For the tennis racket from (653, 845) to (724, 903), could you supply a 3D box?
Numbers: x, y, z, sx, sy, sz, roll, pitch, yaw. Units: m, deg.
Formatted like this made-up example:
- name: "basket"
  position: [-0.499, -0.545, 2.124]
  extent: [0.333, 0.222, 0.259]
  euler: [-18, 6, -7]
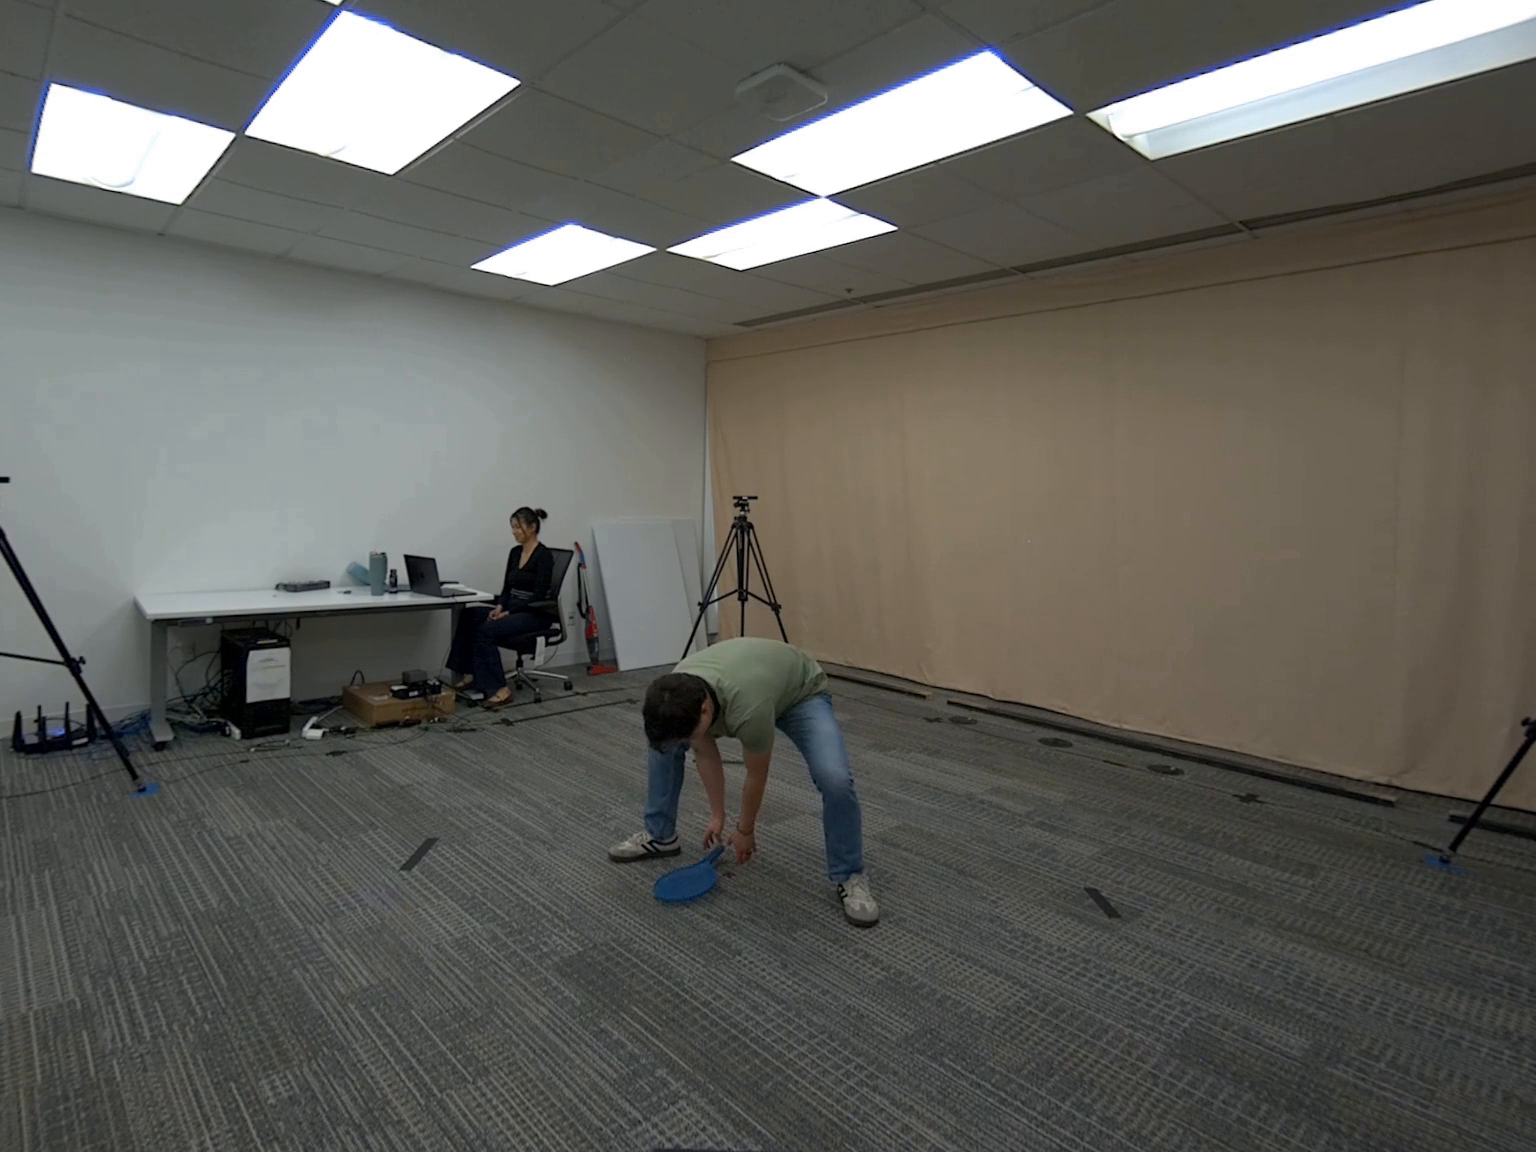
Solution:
- name: "tennis racket"
  position: [-0.260, 1.066, 3.027]
  extent: [0.217, 0.031, 0.427]
  euler: [-2, 7, 24]
